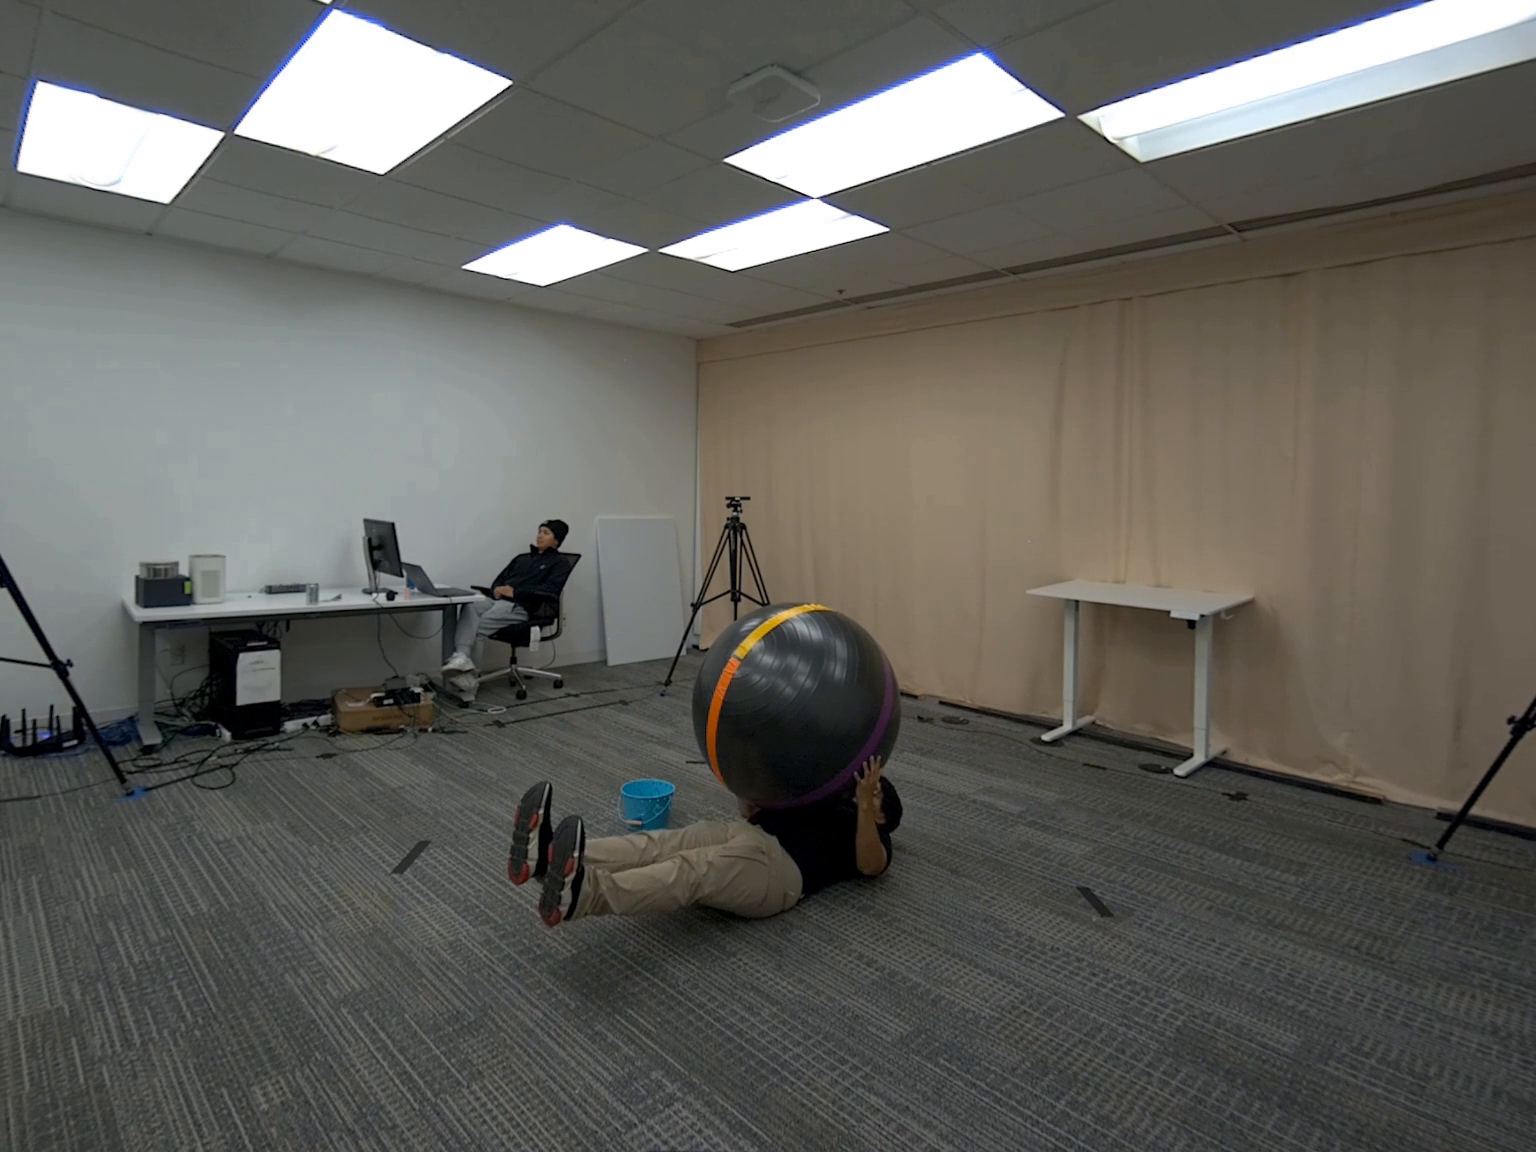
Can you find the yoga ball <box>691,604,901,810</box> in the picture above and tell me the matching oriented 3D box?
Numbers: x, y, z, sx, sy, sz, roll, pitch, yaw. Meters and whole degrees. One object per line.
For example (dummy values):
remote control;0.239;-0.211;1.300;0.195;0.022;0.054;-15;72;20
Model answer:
yoga ball;0.094;0.478;3.068;0.757;0.755;0.761;1;5;-1
